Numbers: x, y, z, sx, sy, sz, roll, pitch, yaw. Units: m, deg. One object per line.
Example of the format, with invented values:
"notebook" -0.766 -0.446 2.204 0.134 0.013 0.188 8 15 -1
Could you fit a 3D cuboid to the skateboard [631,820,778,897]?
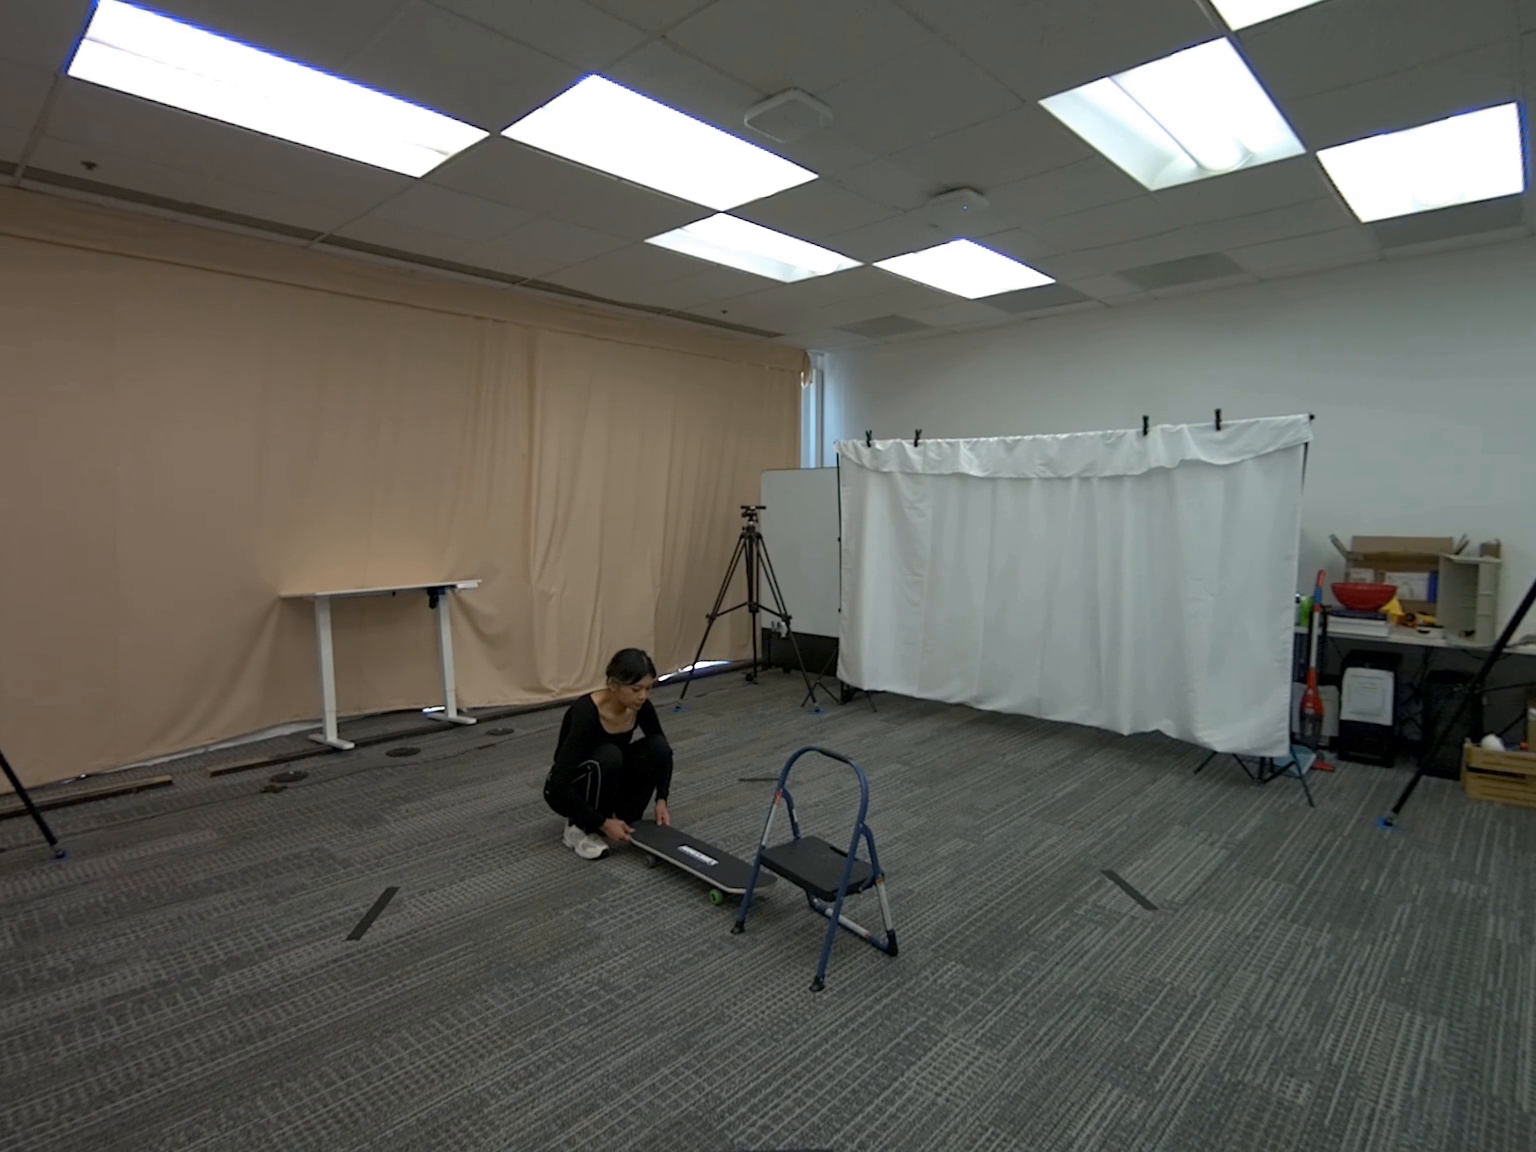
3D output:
"skateboard" -0.259 1.077 3.148 0.187 0.110 0.811 -3 5 -41
